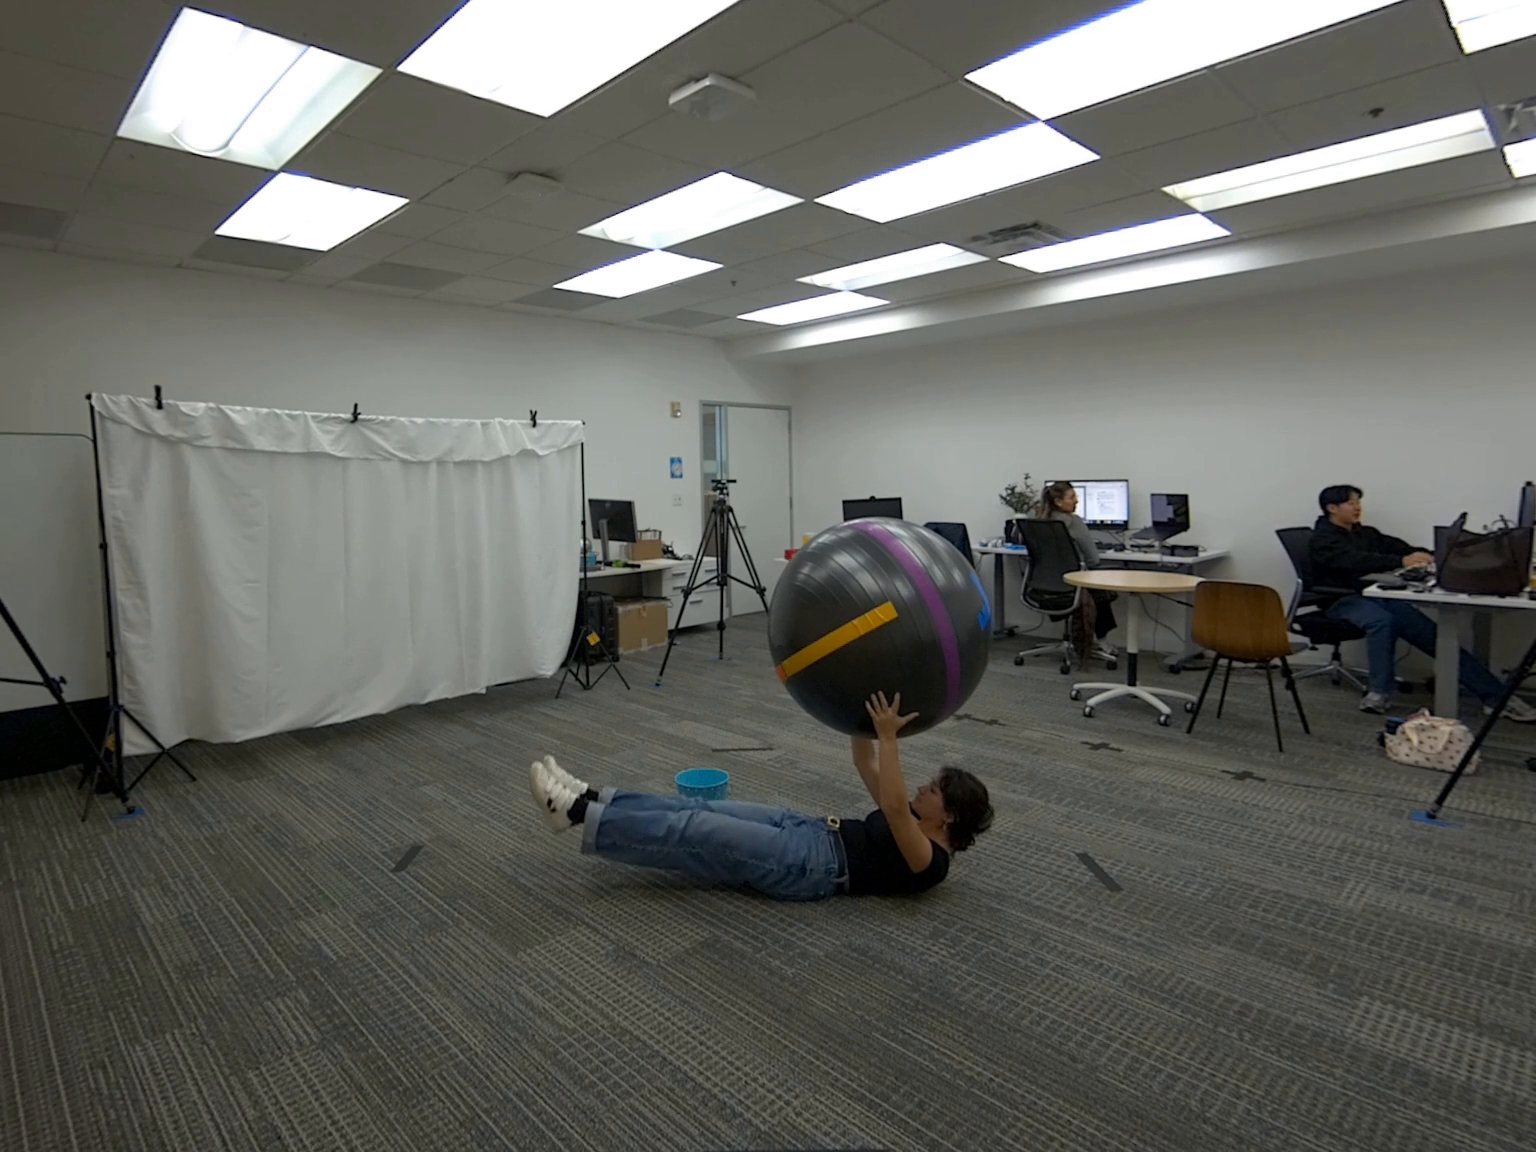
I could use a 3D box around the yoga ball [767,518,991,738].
[{"bbox_3d":[0.375,0.180,2.942,0.757,0.755,0.762,-1,5,-2],"label":"yoga ball"}]
